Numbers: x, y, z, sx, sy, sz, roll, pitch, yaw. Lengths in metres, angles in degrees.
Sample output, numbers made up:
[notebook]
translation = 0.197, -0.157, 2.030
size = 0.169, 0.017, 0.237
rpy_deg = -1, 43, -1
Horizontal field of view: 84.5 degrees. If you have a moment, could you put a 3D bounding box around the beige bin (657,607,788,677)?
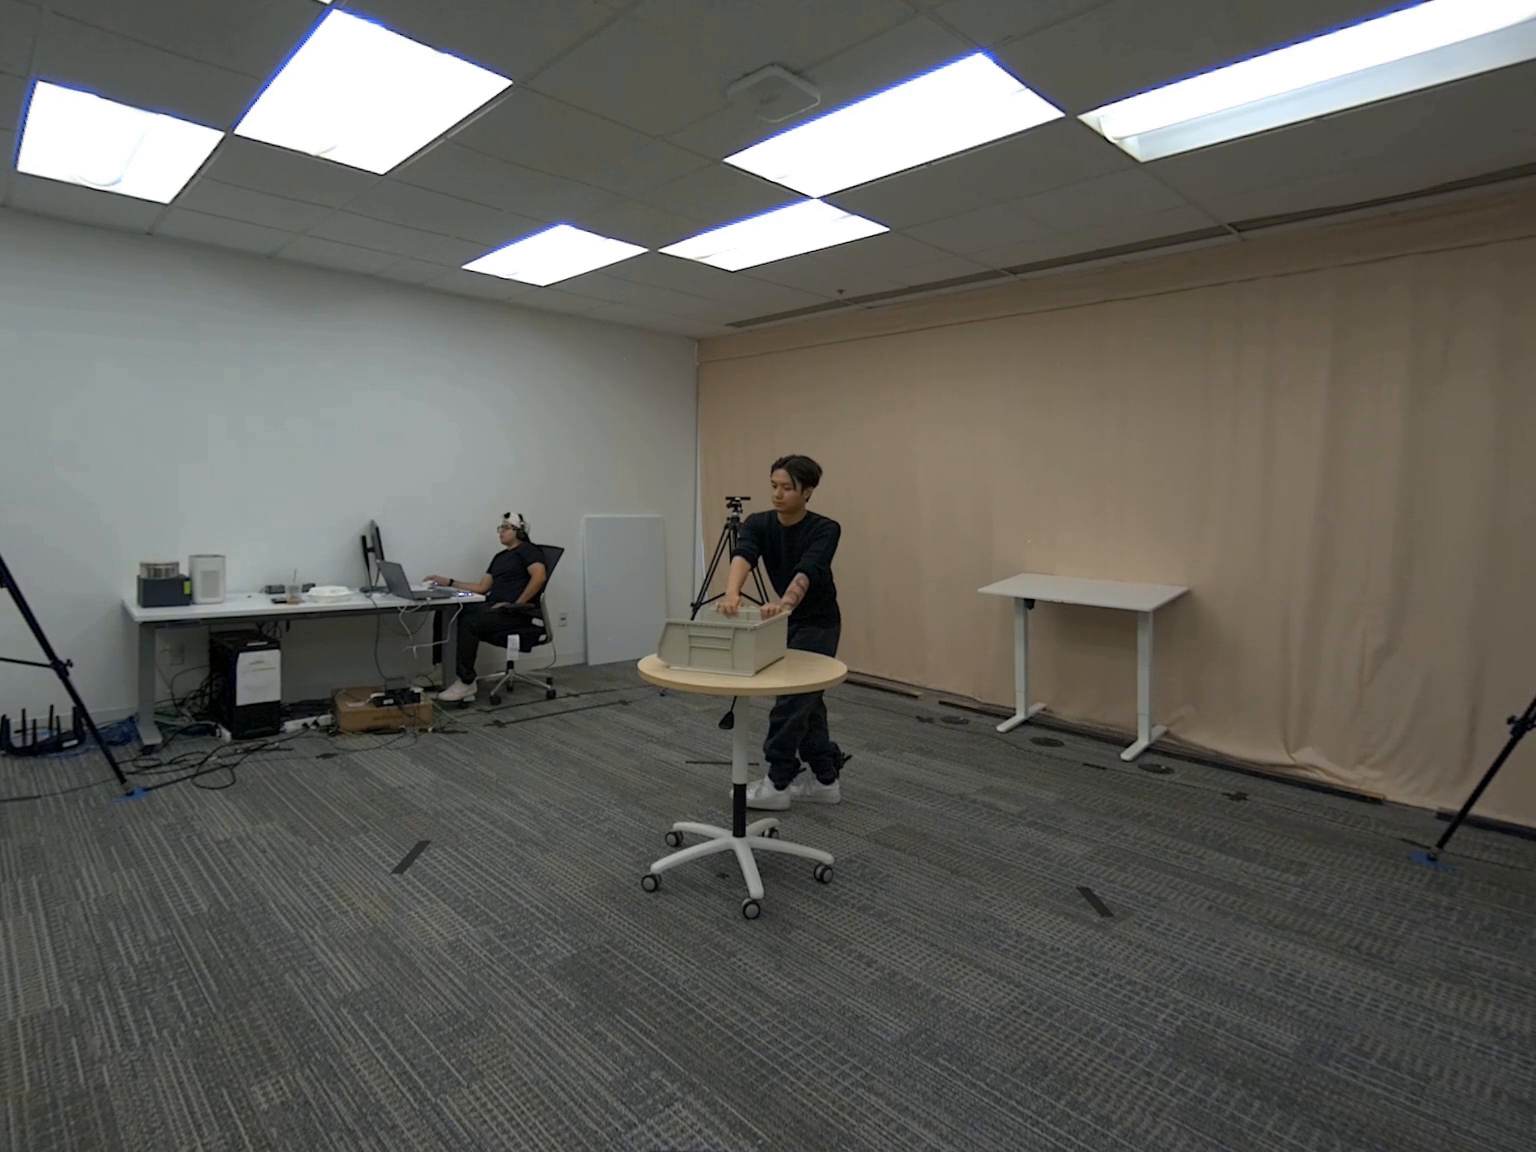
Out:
[beige bin]
translation = -0.155, 0.230, 3.121
size = 0.383, 0.188, 0.417
rpy_deg = 5, 7, 18
